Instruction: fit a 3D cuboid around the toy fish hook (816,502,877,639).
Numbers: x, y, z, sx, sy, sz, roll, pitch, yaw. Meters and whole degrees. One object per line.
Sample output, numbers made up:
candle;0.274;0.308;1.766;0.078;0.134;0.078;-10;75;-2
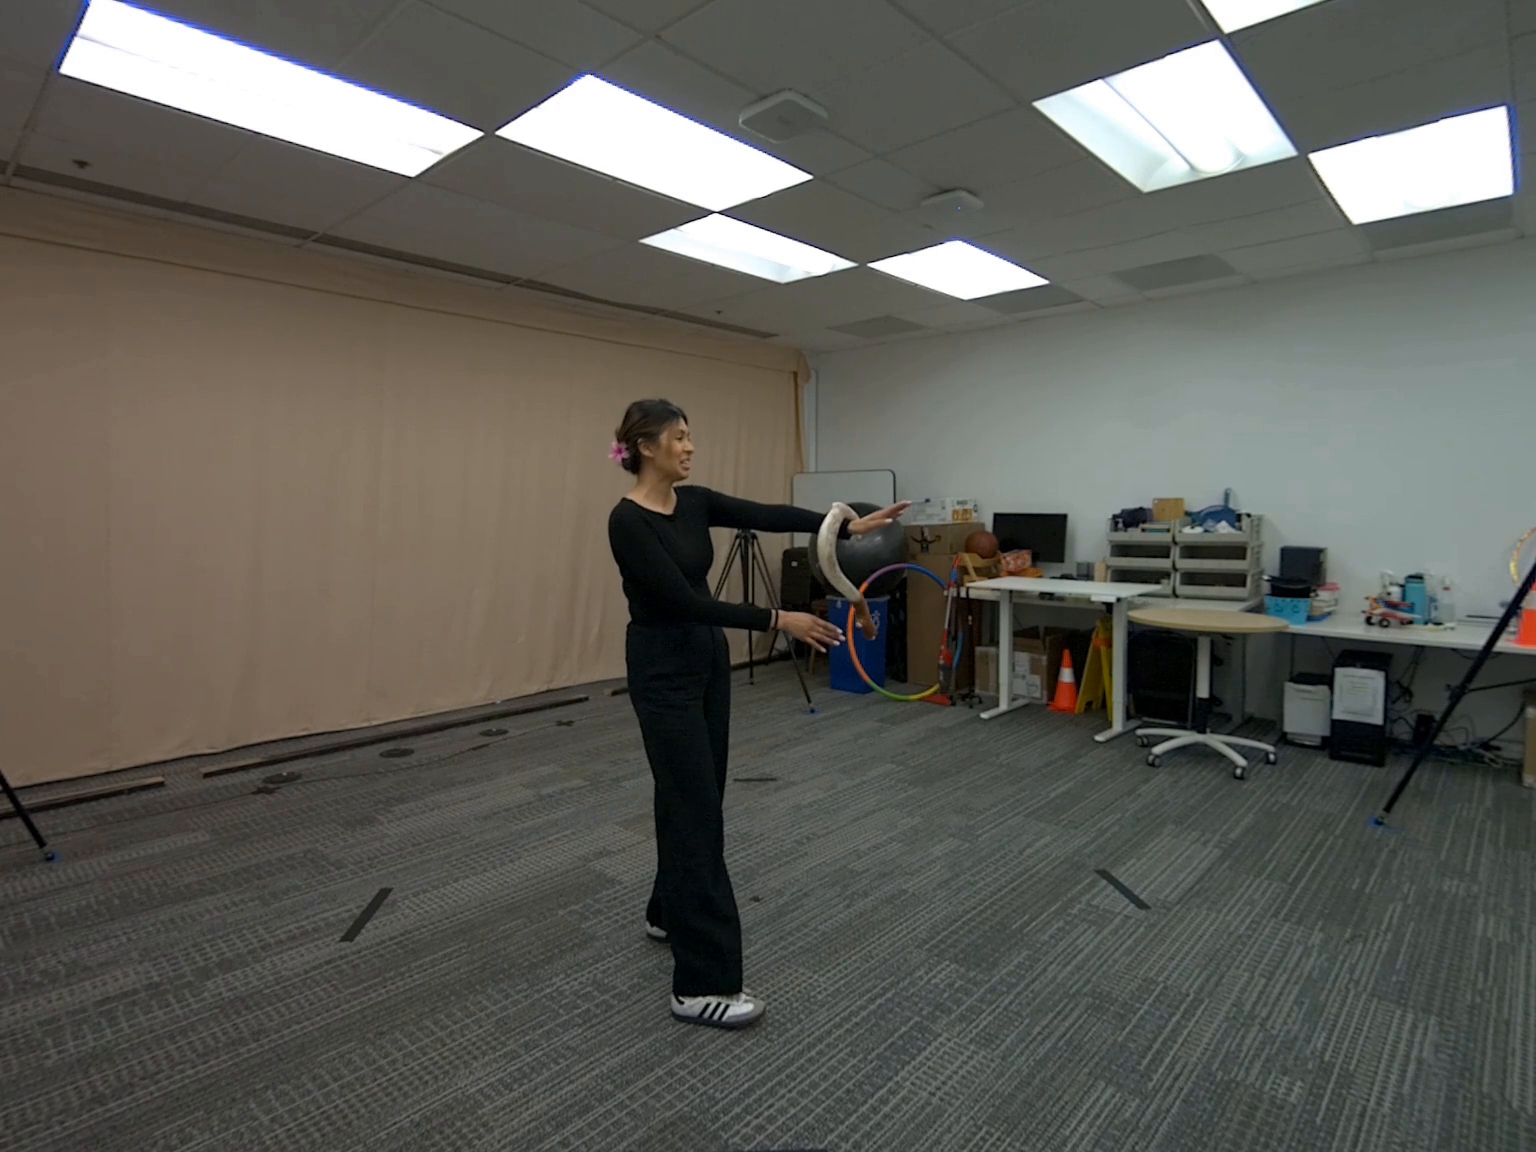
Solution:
toy fish hook;0.249;-0.002;2.427;0.050;0.224;0.490;12;-32;34
